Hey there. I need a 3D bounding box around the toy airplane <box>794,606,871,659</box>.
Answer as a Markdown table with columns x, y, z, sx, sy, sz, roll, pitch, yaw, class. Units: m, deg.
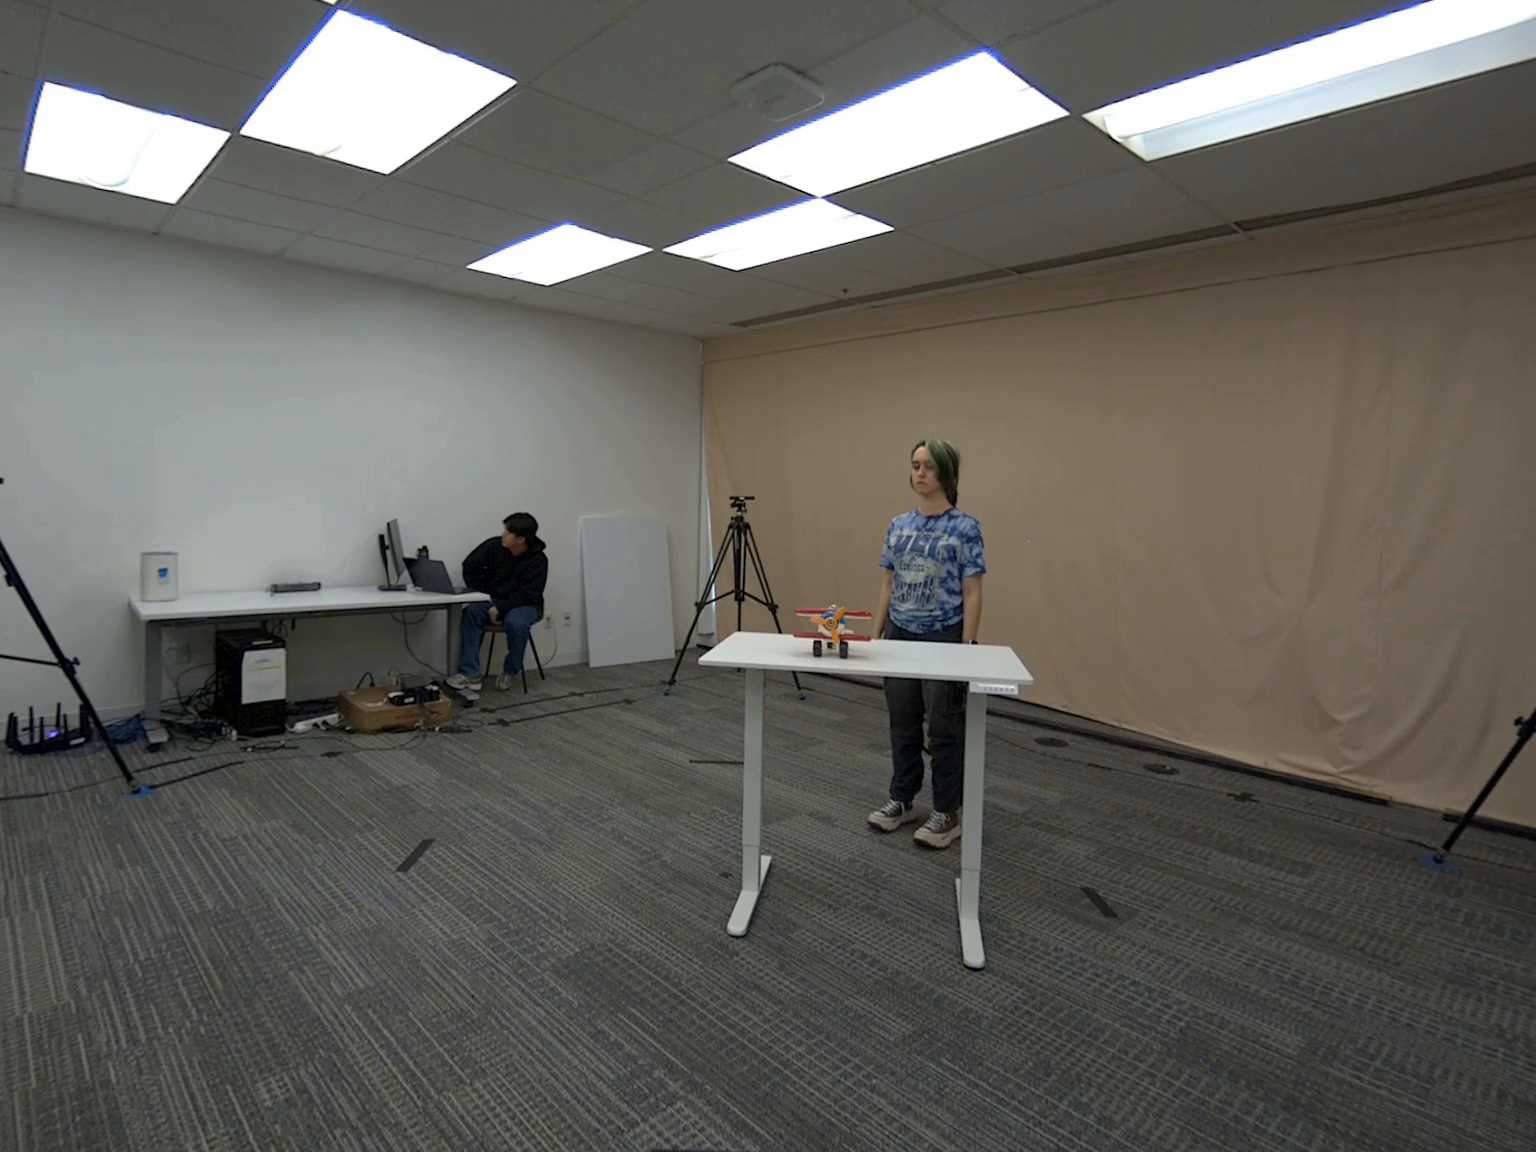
| x | y | z | sx | sy | sz | roll | pitch | yaw | class |
| --- | --- | --- | --- | --- | --- | --- | --- | --- | --- |
| 0.193 | 0.182 | 2.808 | 0.247 | 0.156 | 0.264 | -1 | 5 | -19 | toy airplane |
